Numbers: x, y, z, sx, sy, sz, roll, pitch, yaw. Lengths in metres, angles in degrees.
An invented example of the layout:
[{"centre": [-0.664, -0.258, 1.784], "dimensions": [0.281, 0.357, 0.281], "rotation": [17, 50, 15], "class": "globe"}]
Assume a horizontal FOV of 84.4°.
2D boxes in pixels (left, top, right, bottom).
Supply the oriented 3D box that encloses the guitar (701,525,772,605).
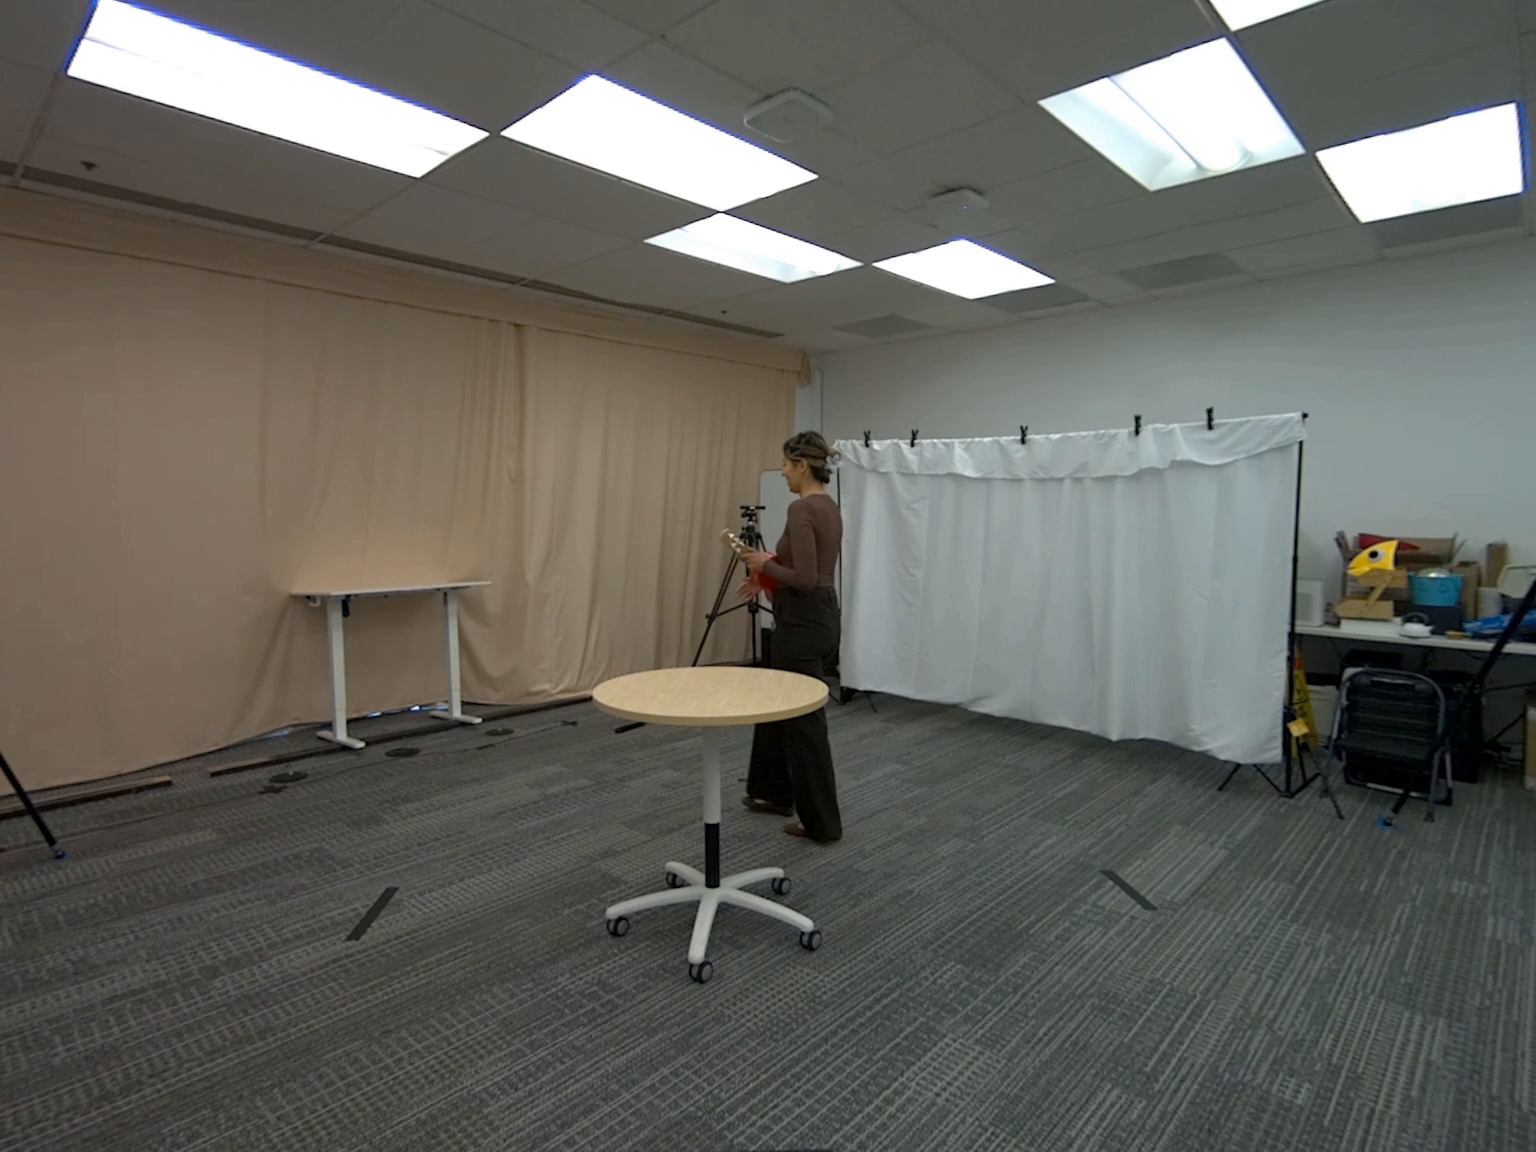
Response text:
[{"centre": [-0.043, -0.022, 3.553], "dimensions": [0.480, 0.193, 0.073], "rotation": [29, -1, -40], "class": "guitar"}]
